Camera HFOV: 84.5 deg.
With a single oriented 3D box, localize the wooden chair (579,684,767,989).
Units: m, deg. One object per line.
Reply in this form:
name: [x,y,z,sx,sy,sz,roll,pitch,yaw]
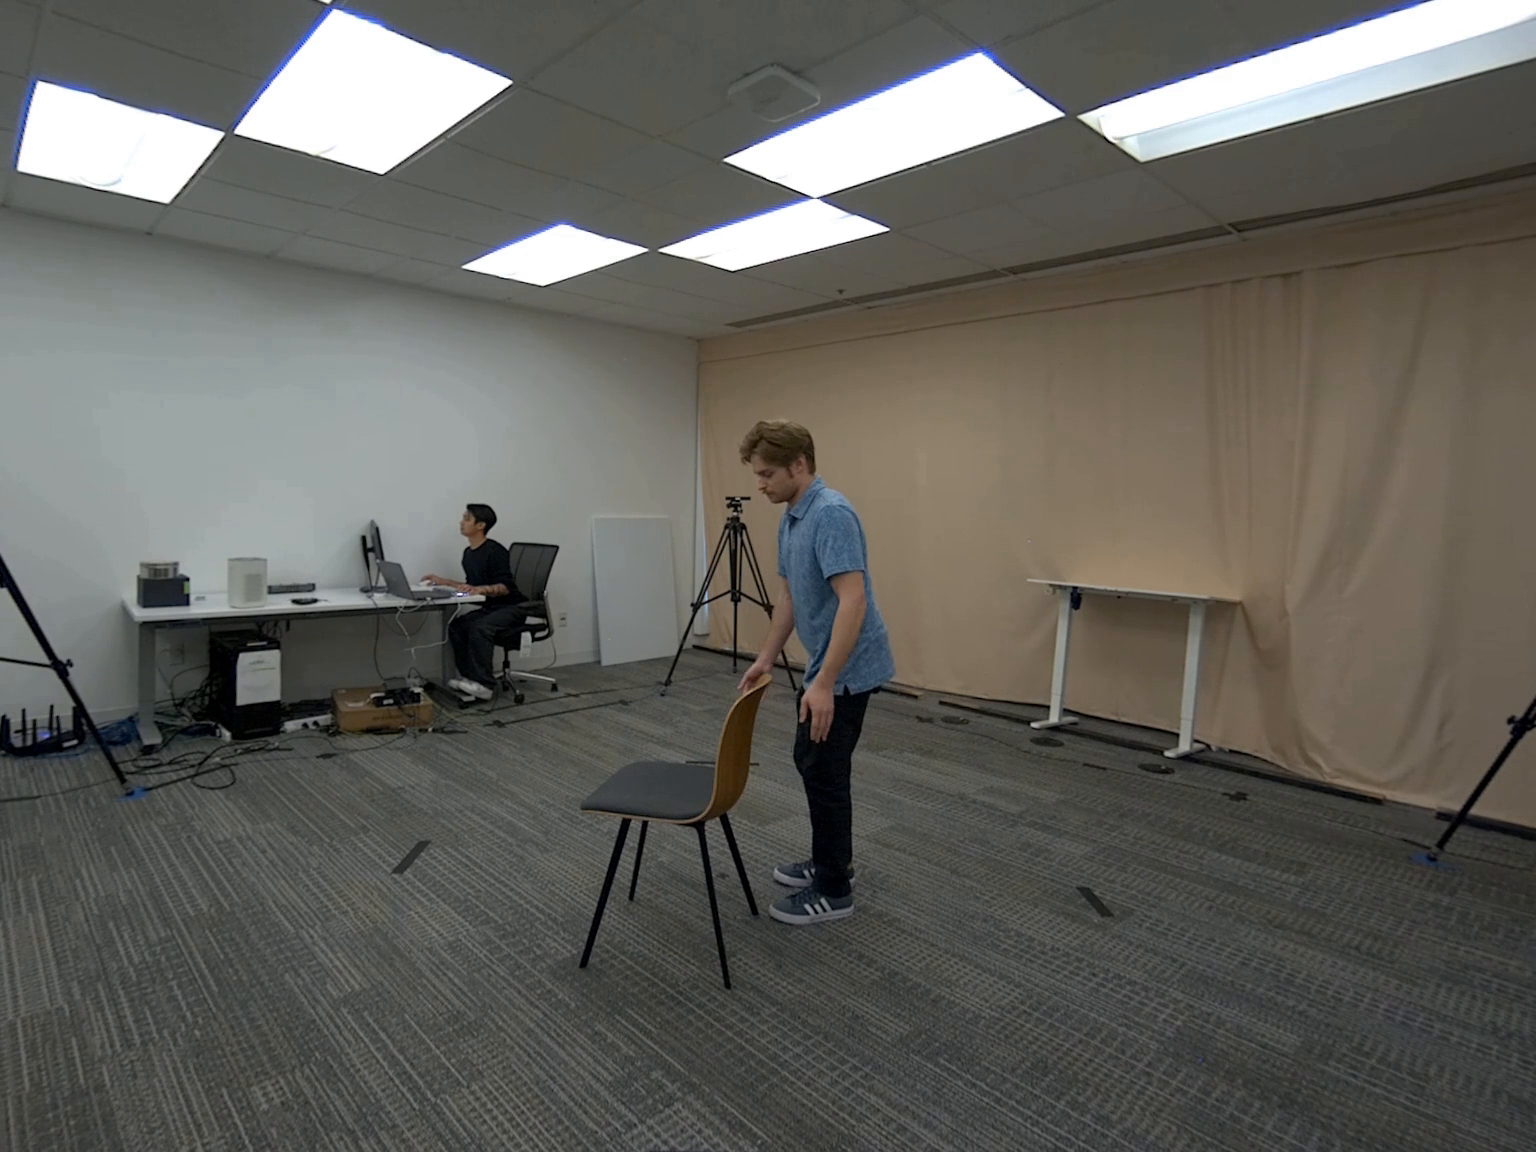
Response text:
wooden chair: [-0.299,0.721,2.615,0.528,0.874,0.475,6,5,11]
